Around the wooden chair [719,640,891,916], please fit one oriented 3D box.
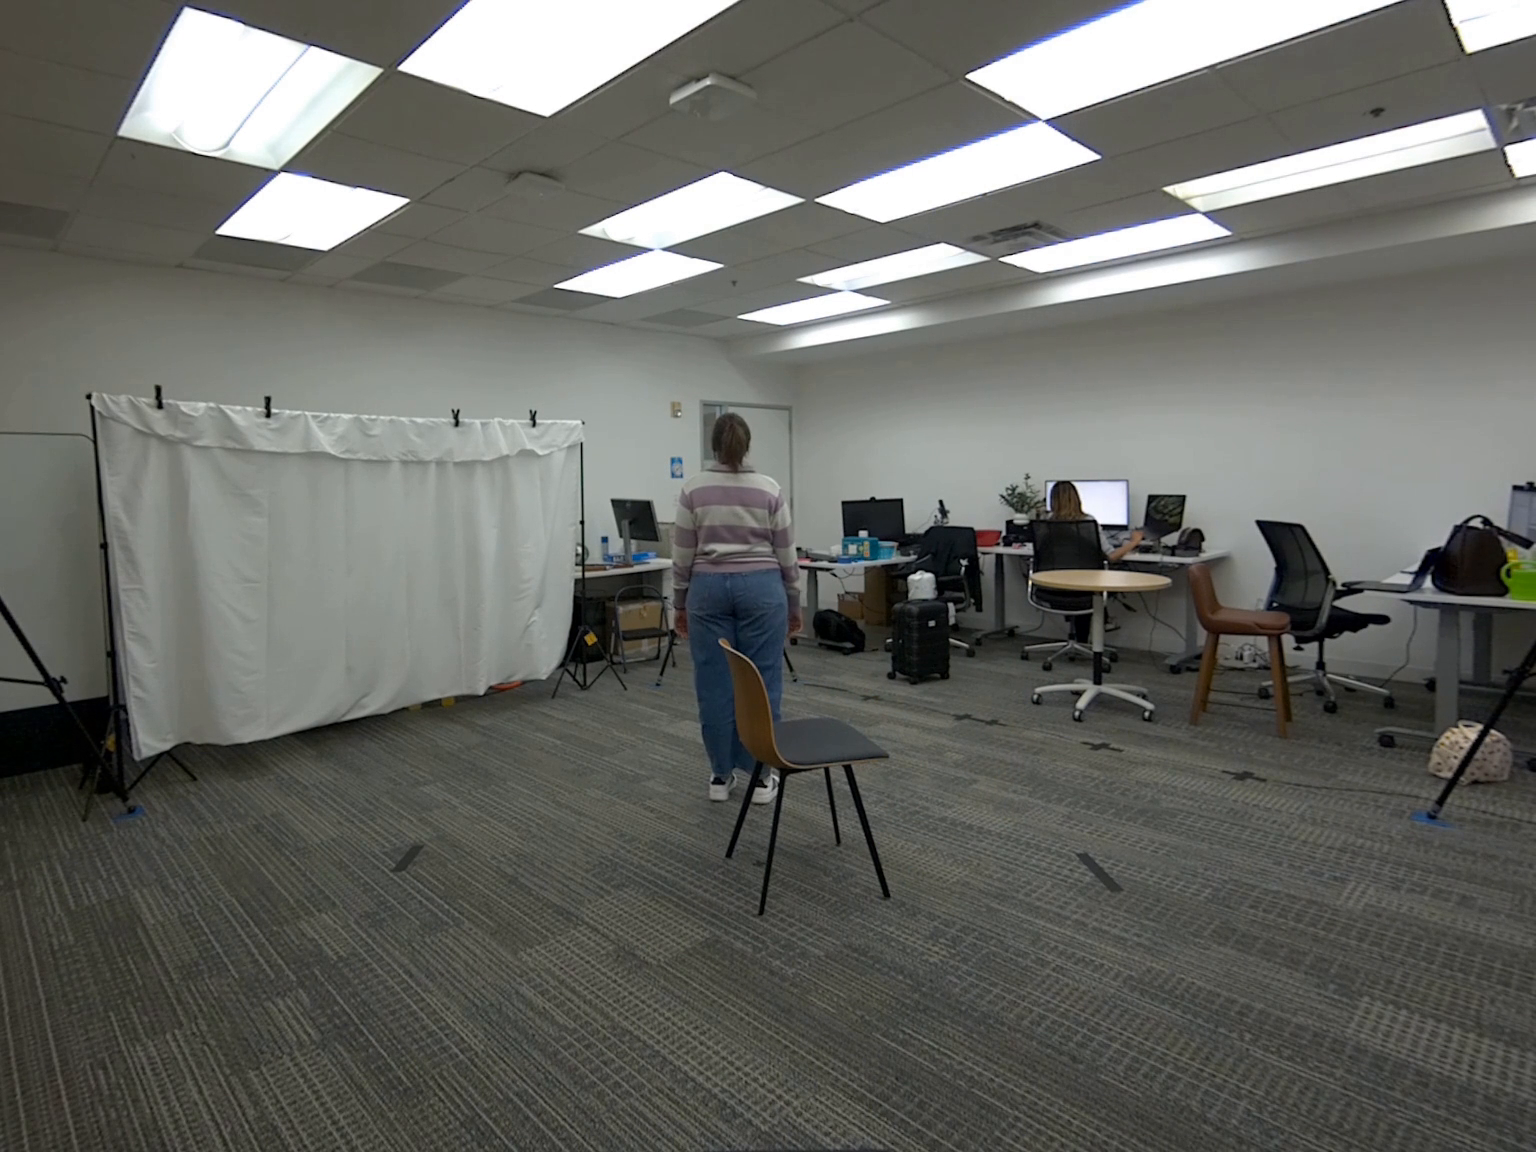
[{"bbox_3d":[0.126,0.636,2.974,0.517,0.874,0.486,-6,5,-15],"label":"wooden chair"}]
